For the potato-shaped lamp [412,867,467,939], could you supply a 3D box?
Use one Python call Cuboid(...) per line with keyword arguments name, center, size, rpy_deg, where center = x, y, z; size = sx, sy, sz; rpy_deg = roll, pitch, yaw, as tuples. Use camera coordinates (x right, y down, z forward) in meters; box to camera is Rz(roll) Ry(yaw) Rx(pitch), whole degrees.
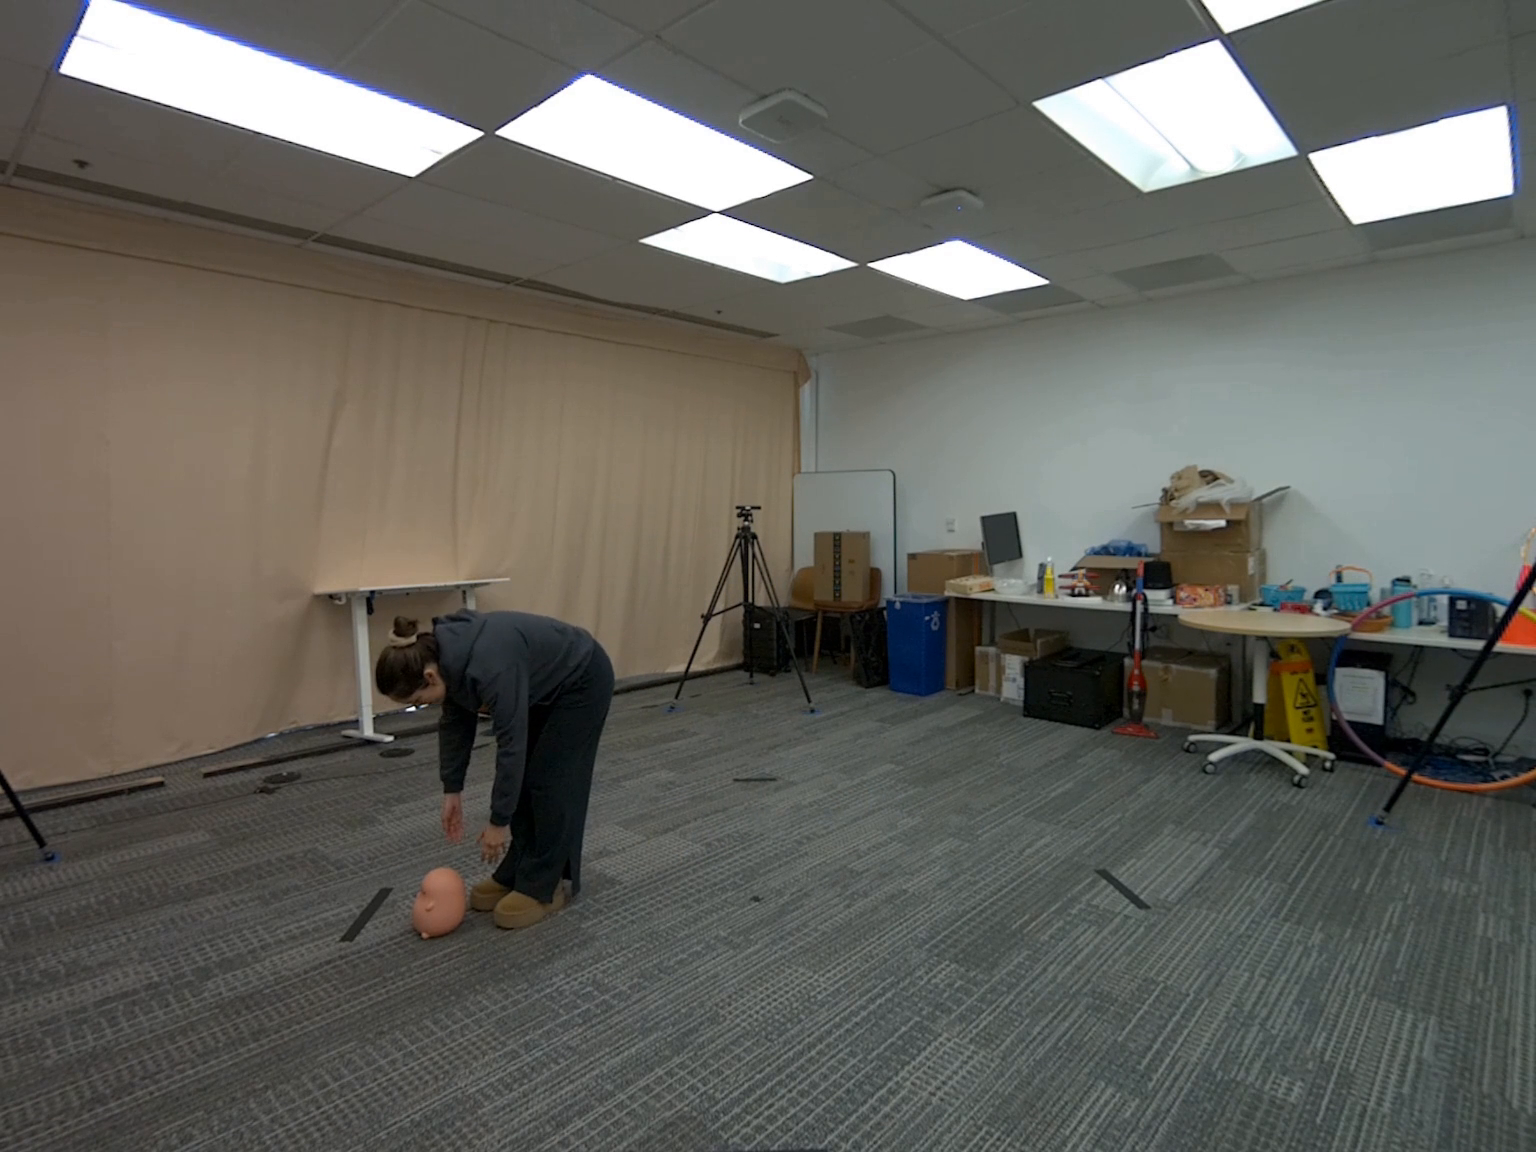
Cuboid(name="potato-shaped lamp", center=(-1.069, 1.075, 2.791), size=(0.166, 0.198, 0.170), rpy_deg=(9, -4, -37))
